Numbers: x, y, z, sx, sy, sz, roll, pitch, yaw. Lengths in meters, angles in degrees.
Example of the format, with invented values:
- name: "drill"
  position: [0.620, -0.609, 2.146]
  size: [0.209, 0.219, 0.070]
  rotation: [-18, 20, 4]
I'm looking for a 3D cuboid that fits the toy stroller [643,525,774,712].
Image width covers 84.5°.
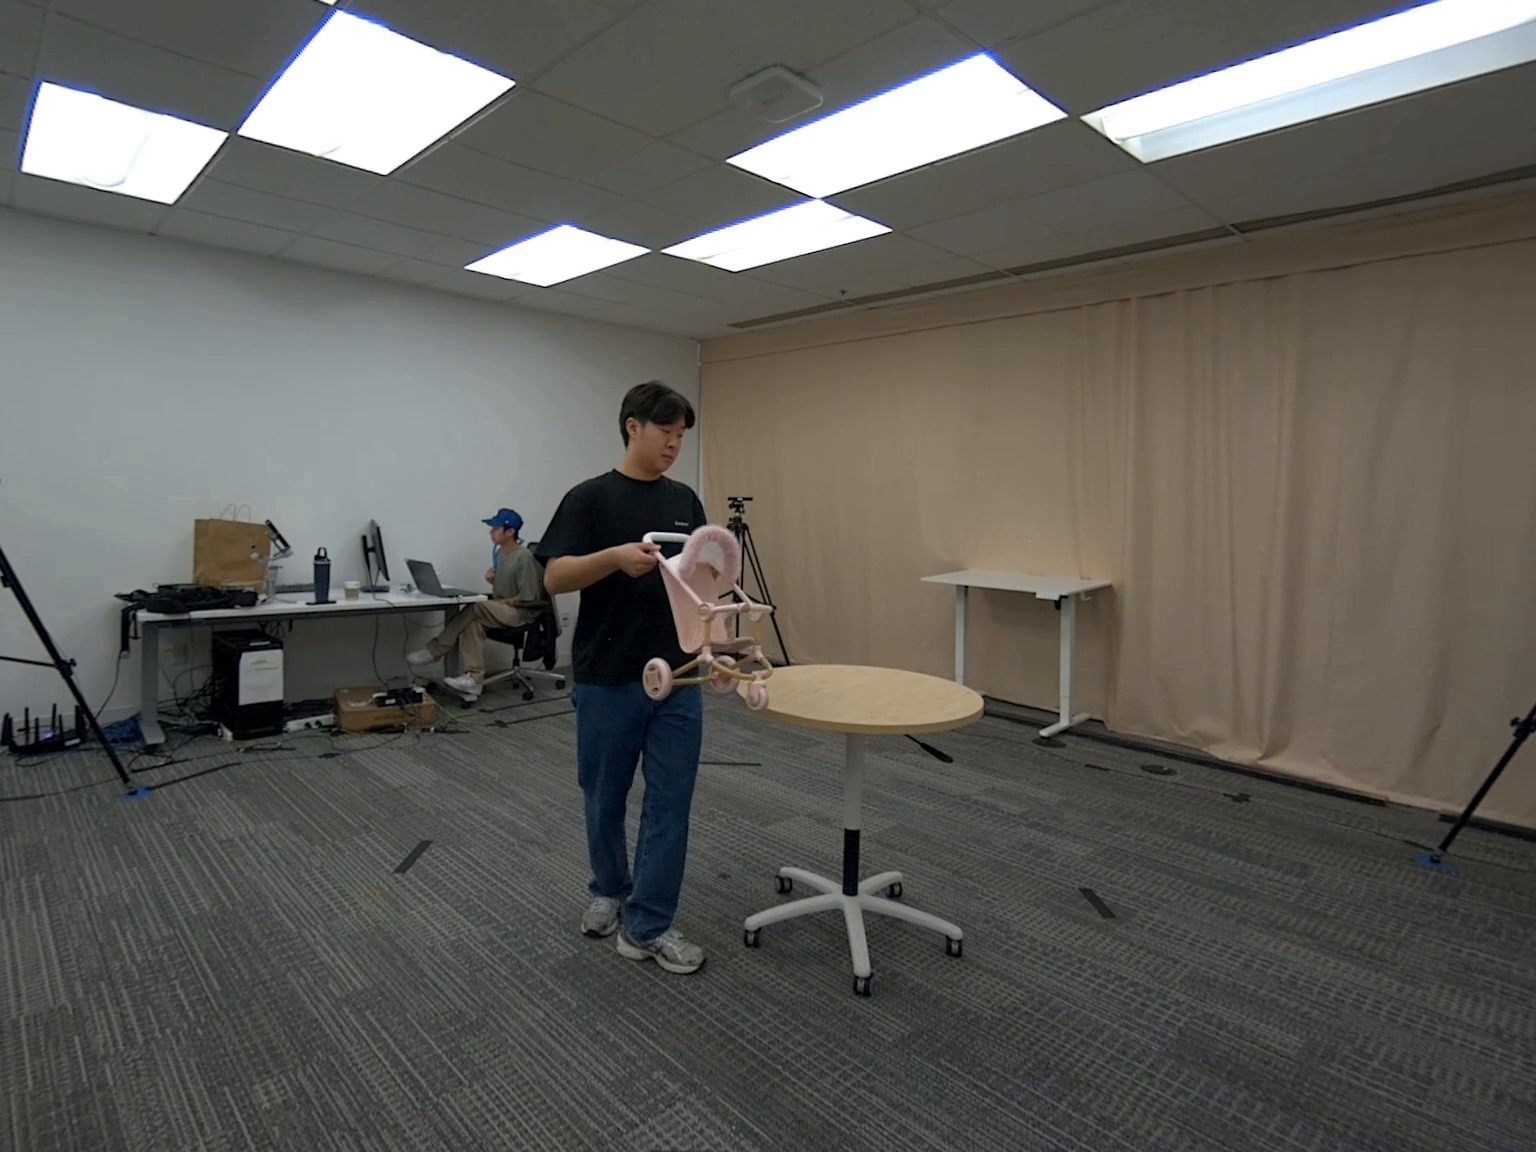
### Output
- name: "toy stroller"
  position: [-0.157, 0.103, 2.263]
  size: [0.274, 0.540, 0.346]
  rotation: [5, -16, -41]
